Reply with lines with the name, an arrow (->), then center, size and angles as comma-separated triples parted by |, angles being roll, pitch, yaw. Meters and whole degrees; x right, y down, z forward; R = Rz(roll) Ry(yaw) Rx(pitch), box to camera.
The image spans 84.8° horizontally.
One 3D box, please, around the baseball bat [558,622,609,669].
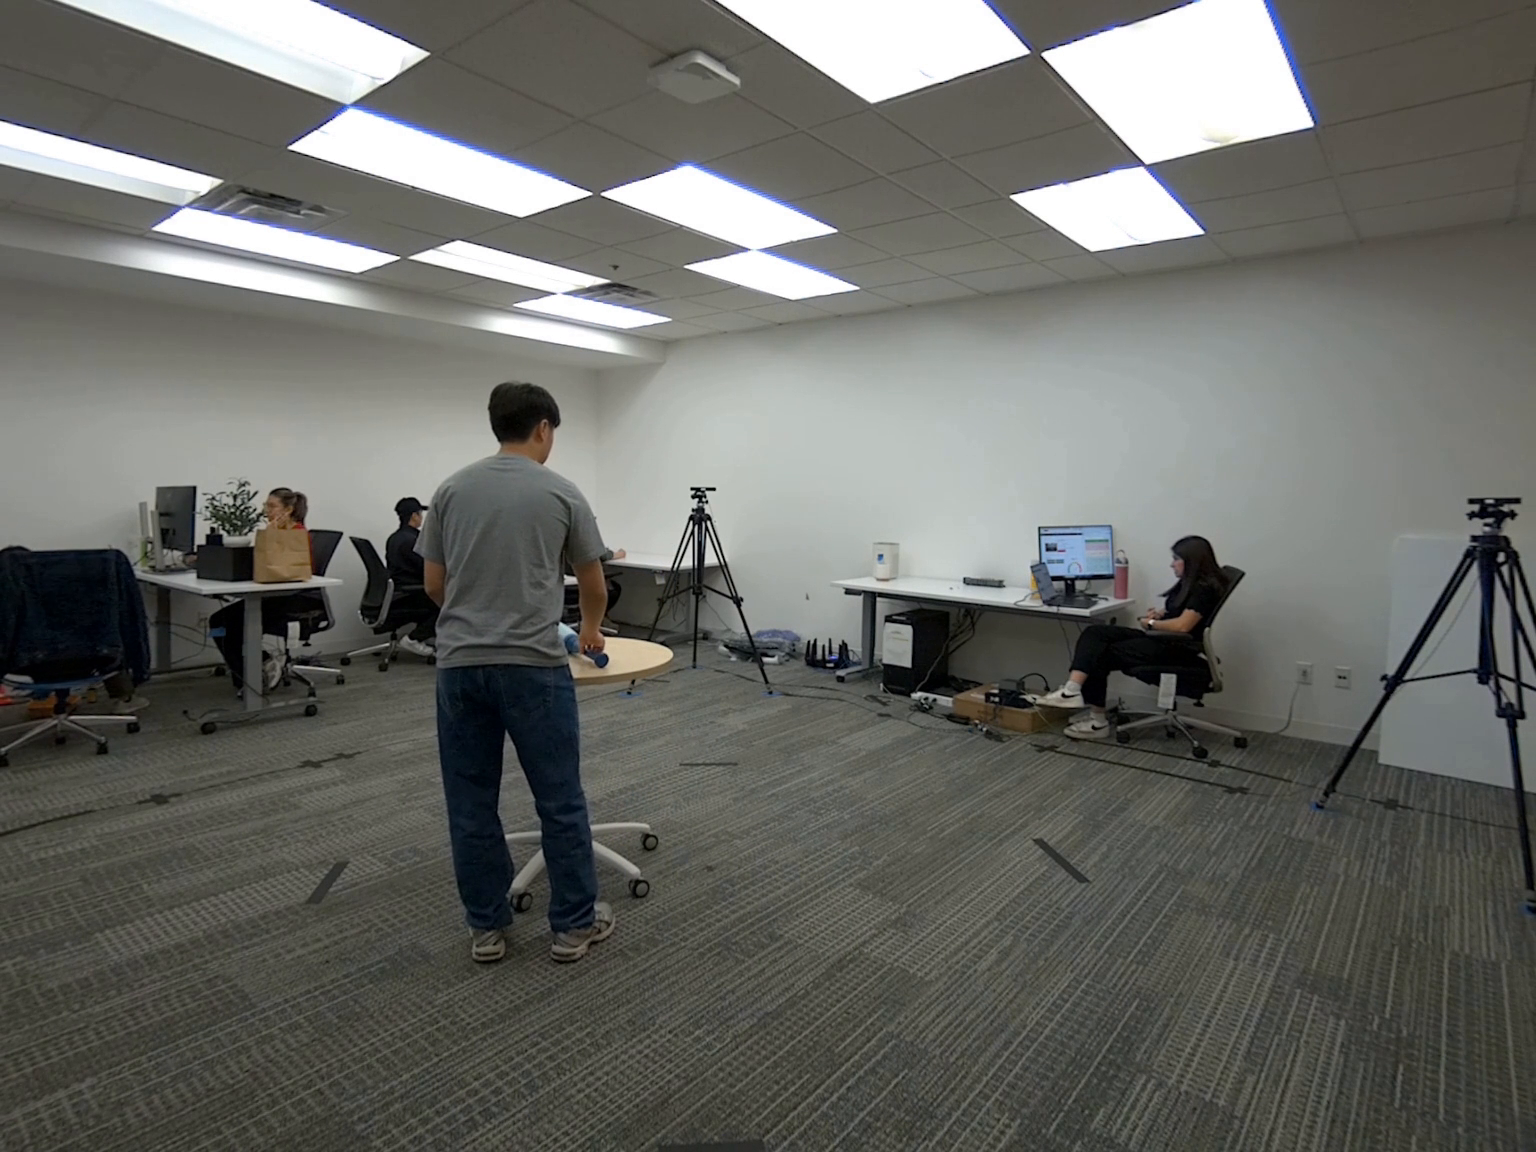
baseball bat -> -0.711, 0.243, 3.037 | 0.086, 0.088, 0.561 | -2, 9, -31
